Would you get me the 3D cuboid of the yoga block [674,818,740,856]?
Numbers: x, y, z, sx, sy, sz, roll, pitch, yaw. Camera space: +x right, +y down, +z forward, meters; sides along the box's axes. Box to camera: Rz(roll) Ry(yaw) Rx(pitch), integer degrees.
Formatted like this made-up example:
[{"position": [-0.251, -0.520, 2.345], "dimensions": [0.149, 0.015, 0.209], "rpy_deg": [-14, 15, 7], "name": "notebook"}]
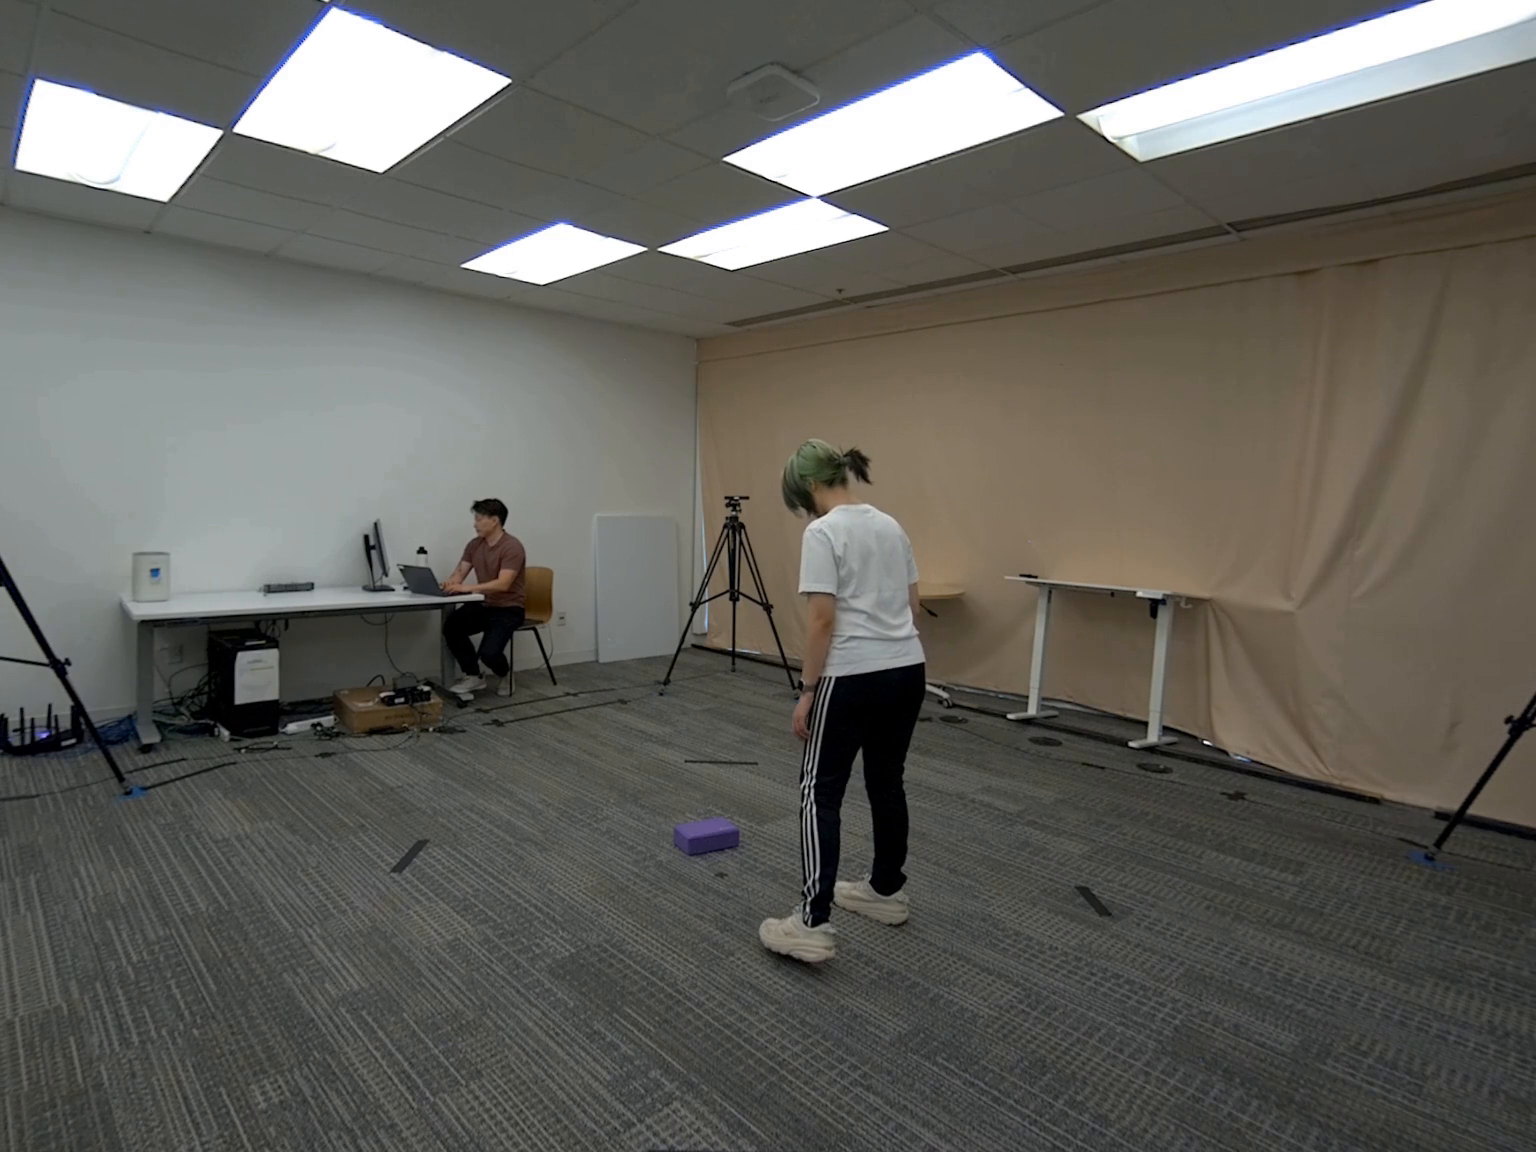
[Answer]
[{"position": [-0.253, 1.038, 3.367], "dimensions": [0.225, 0.076, 0.152], "rpy_deg": [-2, 5, -30], "name": "yoga block"}]
